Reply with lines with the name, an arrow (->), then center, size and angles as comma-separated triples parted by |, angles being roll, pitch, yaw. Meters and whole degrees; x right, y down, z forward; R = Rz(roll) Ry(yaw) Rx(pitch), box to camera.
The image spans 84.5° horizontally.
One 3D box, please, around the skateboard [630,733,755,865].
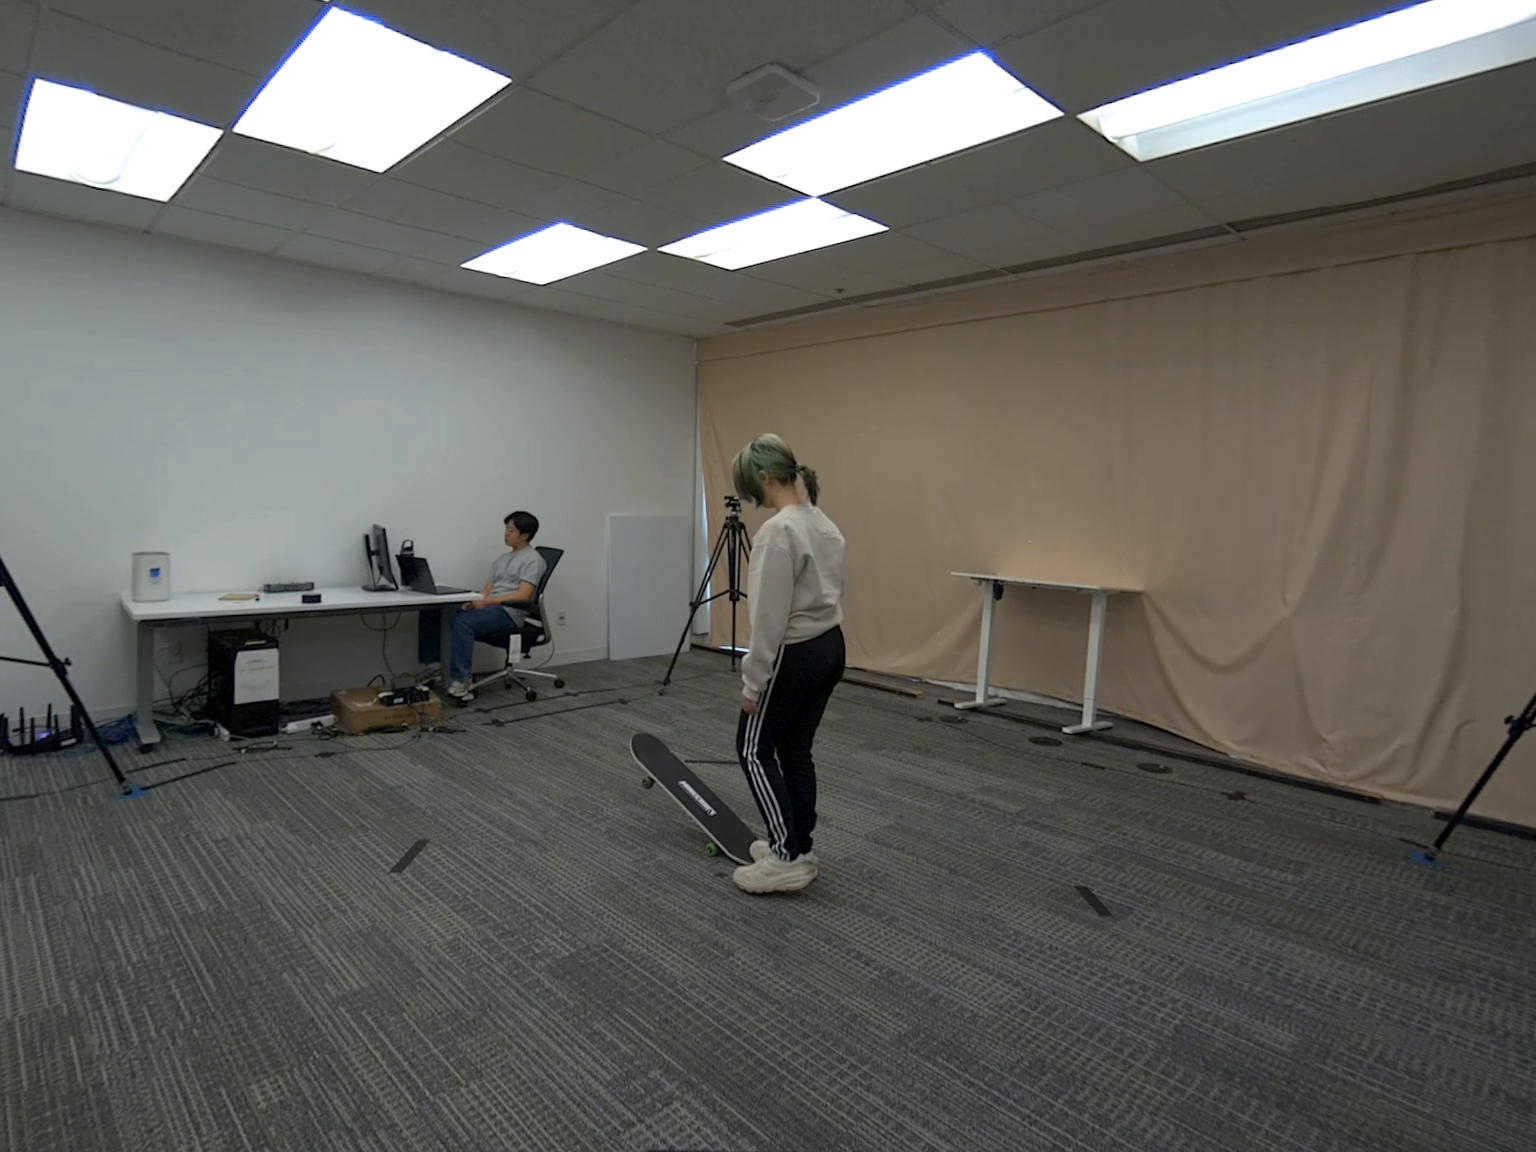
skateboard -> -0.309, 0.932, 3.429 | 0.808, 0.109, 0.189 | 37, 24, 30
